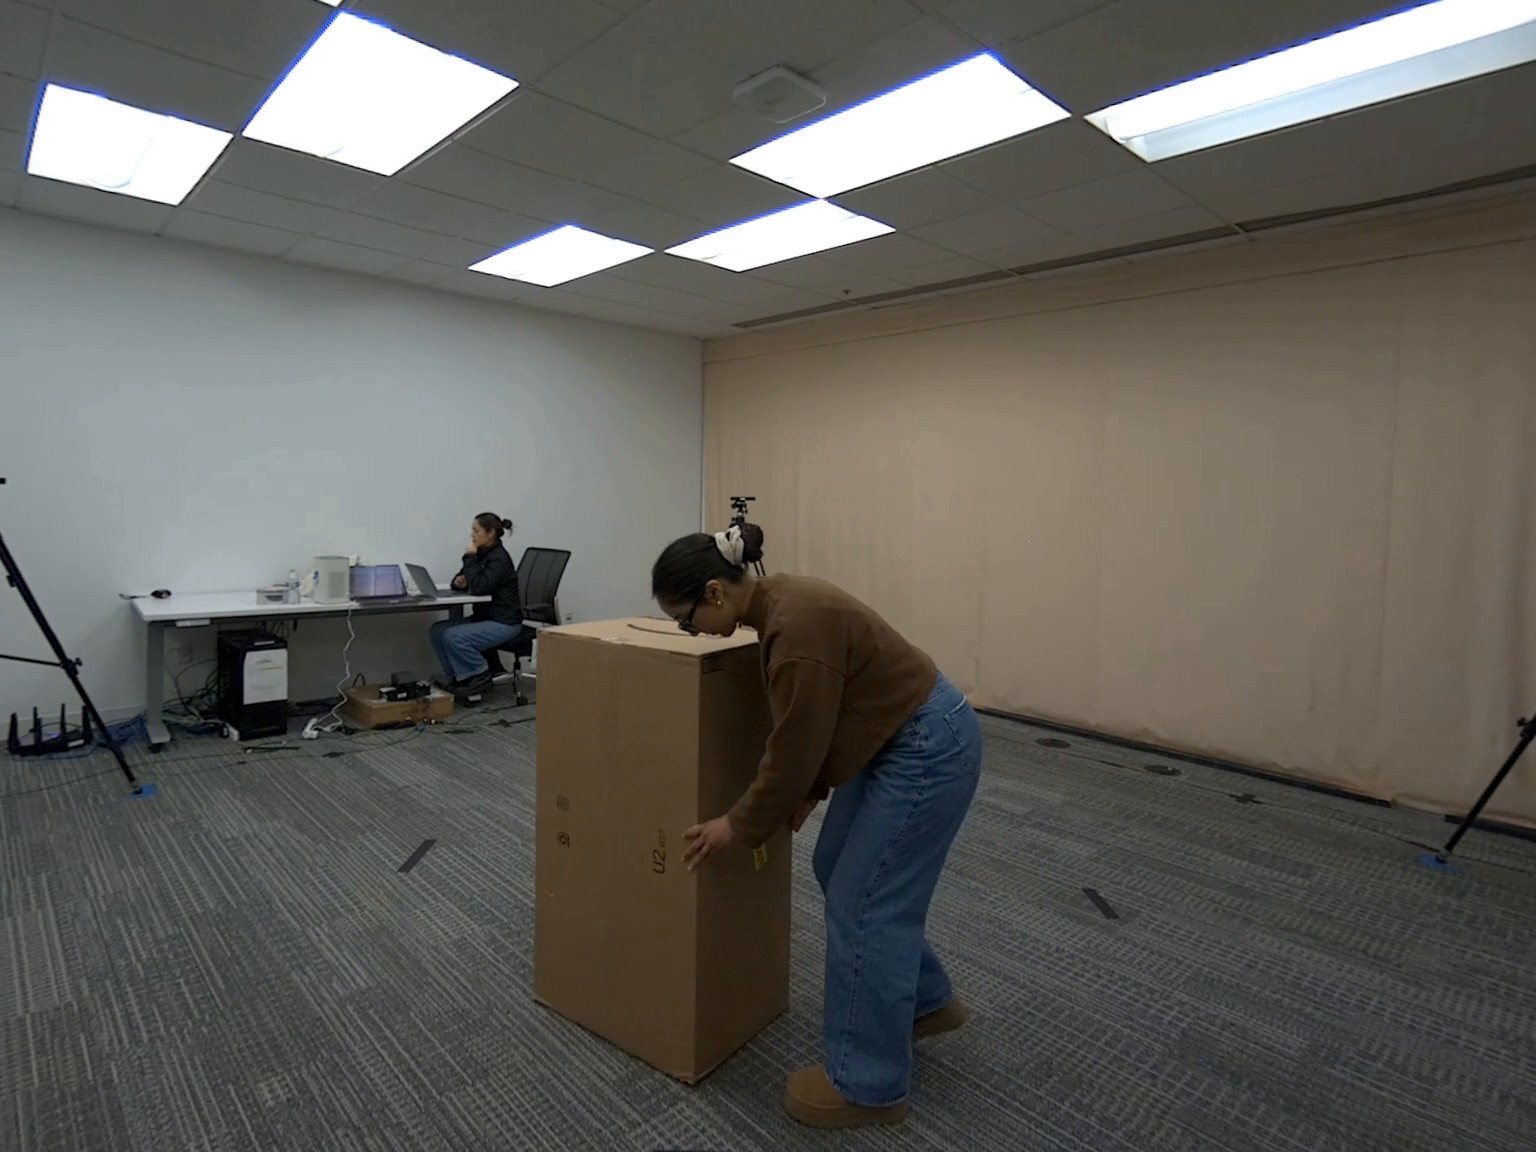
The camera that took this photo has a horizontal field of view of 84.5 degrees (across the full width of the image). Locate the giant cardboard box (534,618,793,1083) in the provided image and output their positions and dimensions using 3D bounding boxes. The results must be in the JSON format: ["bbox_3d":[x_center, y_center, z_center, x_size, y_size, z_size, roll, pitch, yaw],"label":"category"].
[{"bbox_3d":[-0.287,0.669,2.299,0.591,1.024,0.417,3,2,35],"label":"giant cardboard box"}]
